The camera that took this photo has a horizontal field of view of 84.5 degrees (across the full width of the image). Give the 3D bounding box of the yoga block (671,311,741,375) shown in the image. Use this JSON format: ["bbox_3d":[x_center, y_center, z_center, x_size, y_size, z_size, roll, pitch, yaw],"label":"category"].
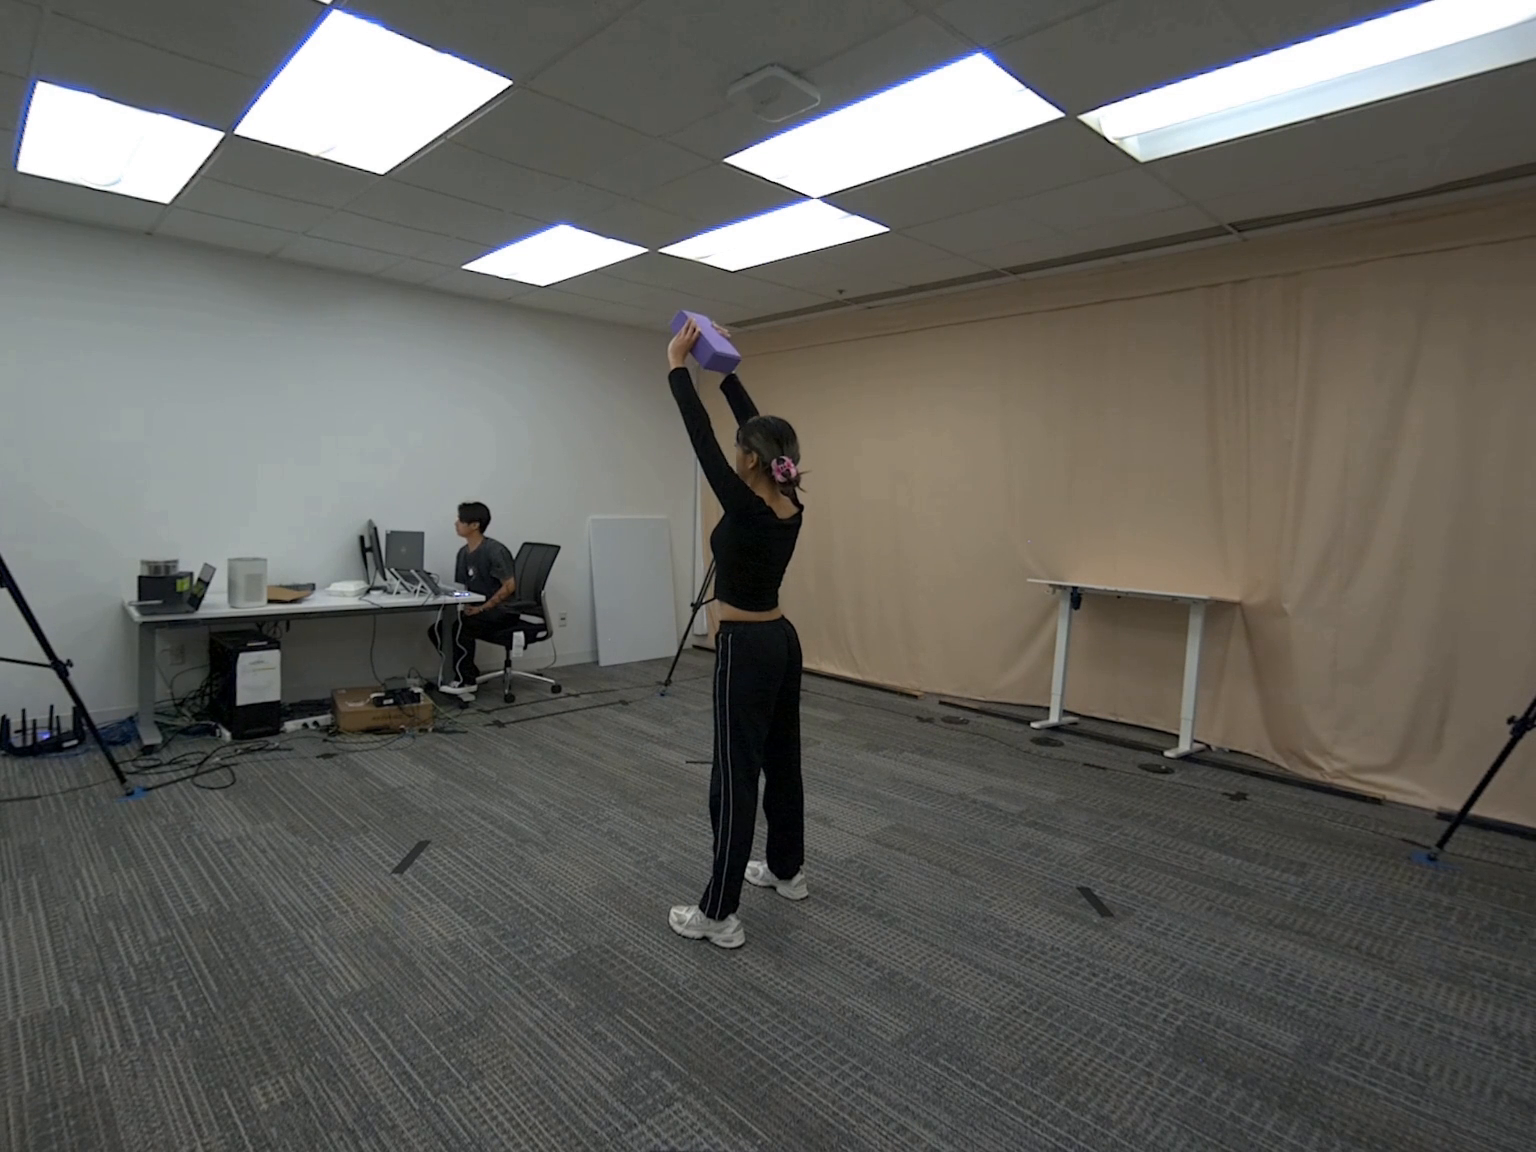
[{"bbox_3d":[-0.222,-0.778,2.814,0.146,0.076,0.235,-4,50,-53],"label":"yoga block"}]
